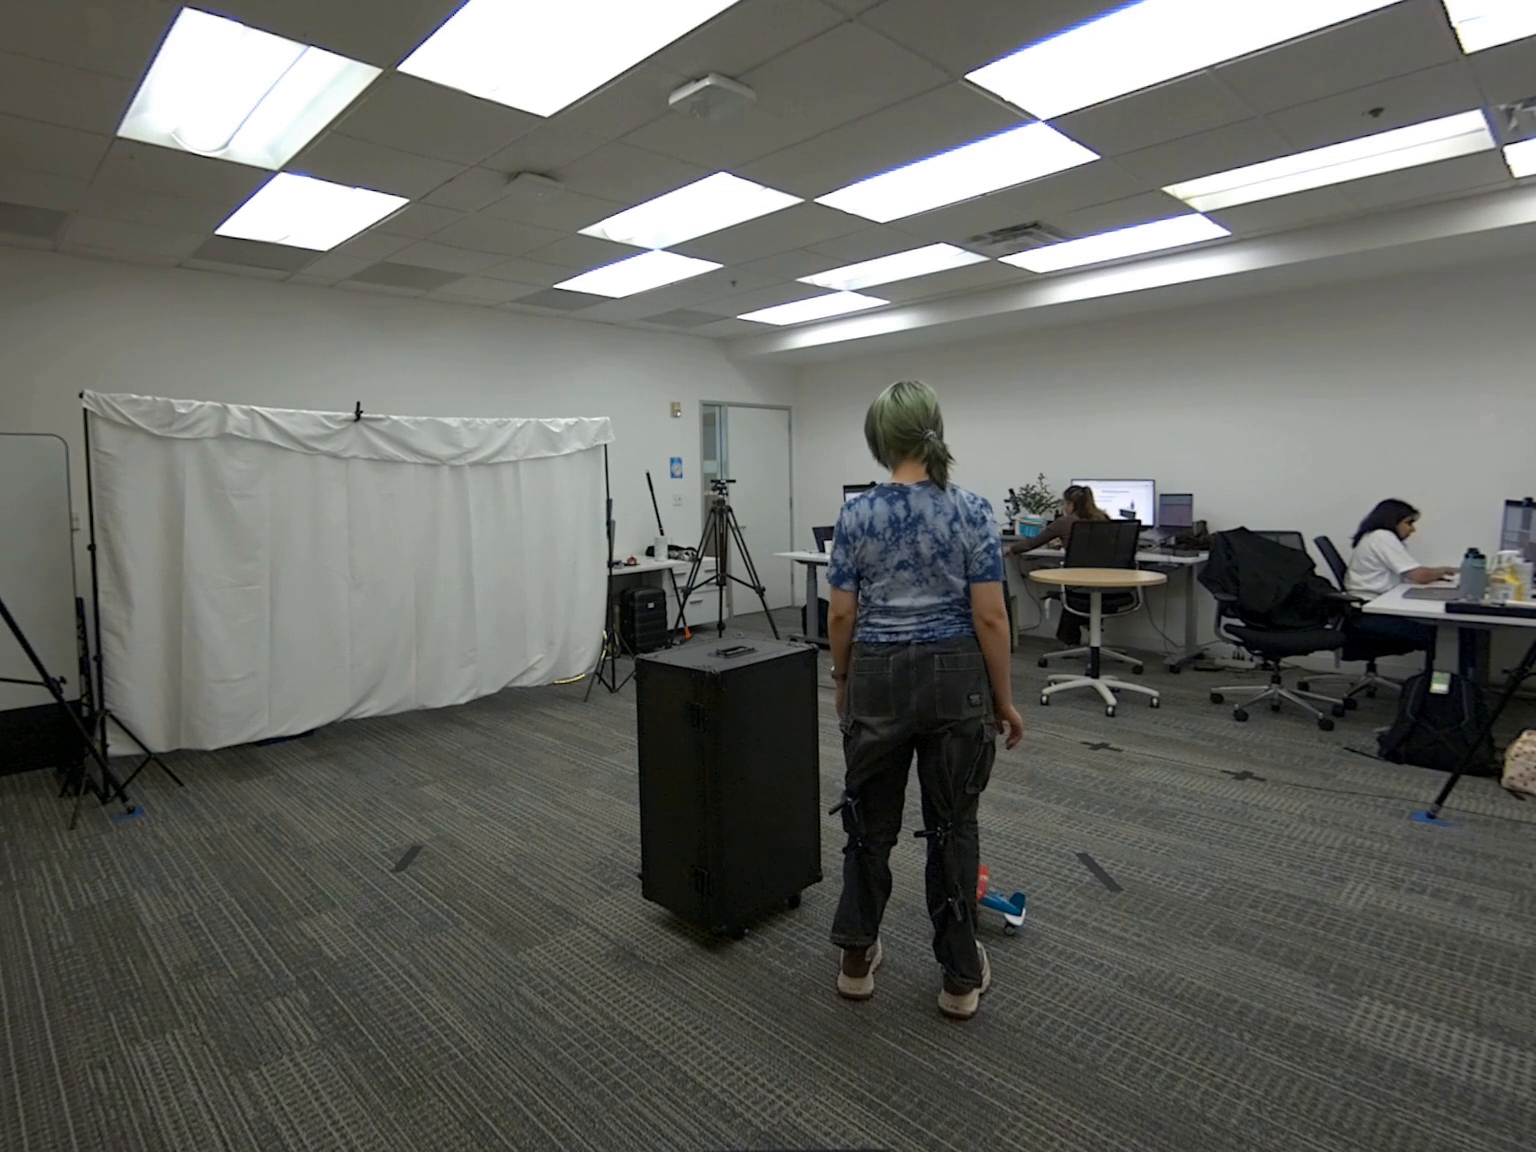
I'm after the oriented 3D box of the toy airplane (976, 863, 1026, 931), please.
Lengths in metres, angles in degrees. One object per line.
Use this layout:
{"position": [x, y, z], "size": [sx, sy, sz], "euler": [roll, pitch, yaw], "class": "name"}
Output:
{"position": [0.663, 0.999, 2.664], "size": [0.258, 0.156, 0.253], "euler": [-2, 5, -4], "class": "toy airplane"}
